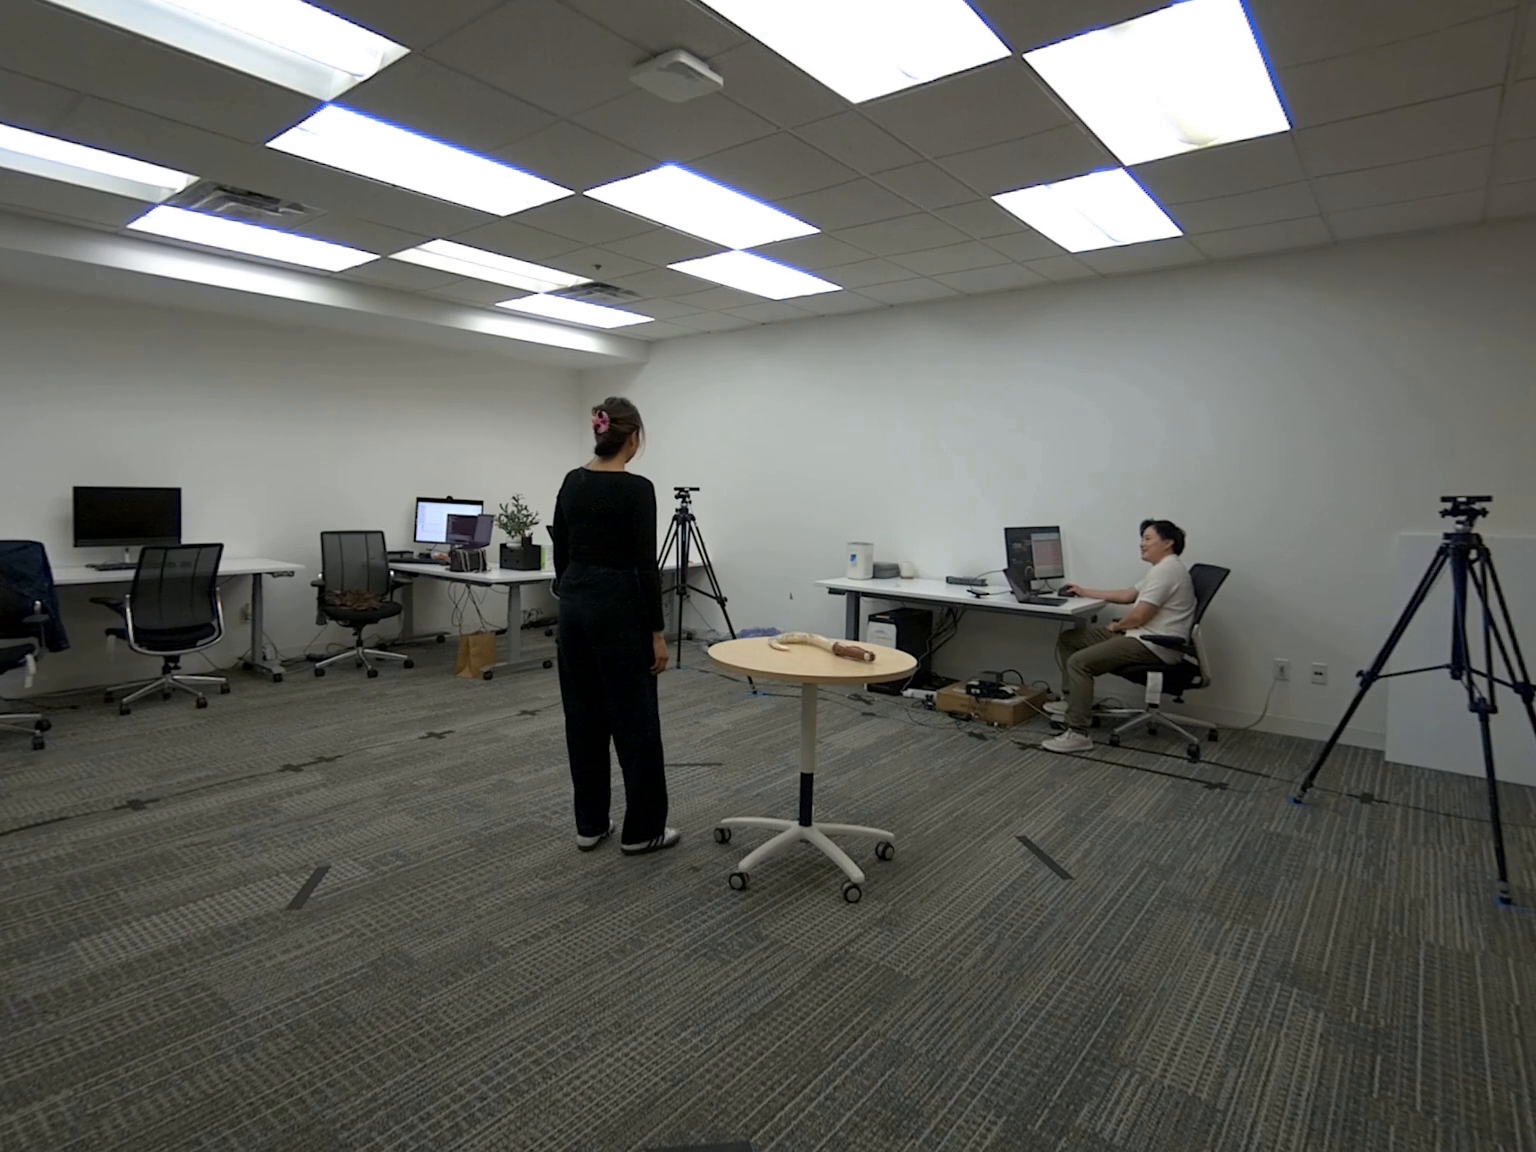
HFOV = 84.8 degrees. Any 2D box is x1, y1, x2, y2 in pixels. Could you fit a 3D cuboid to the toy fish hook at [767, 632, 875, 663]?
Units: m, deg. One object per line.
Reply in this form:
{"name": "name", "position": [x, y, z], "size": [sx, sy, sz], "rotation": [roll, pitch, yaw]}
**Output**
{"name": "toy fish hook", "position": [0.179, 0.275, 3.184], "size": [0.220, 0.048, 0.522], "rotation": [-14, 12, -31]}
